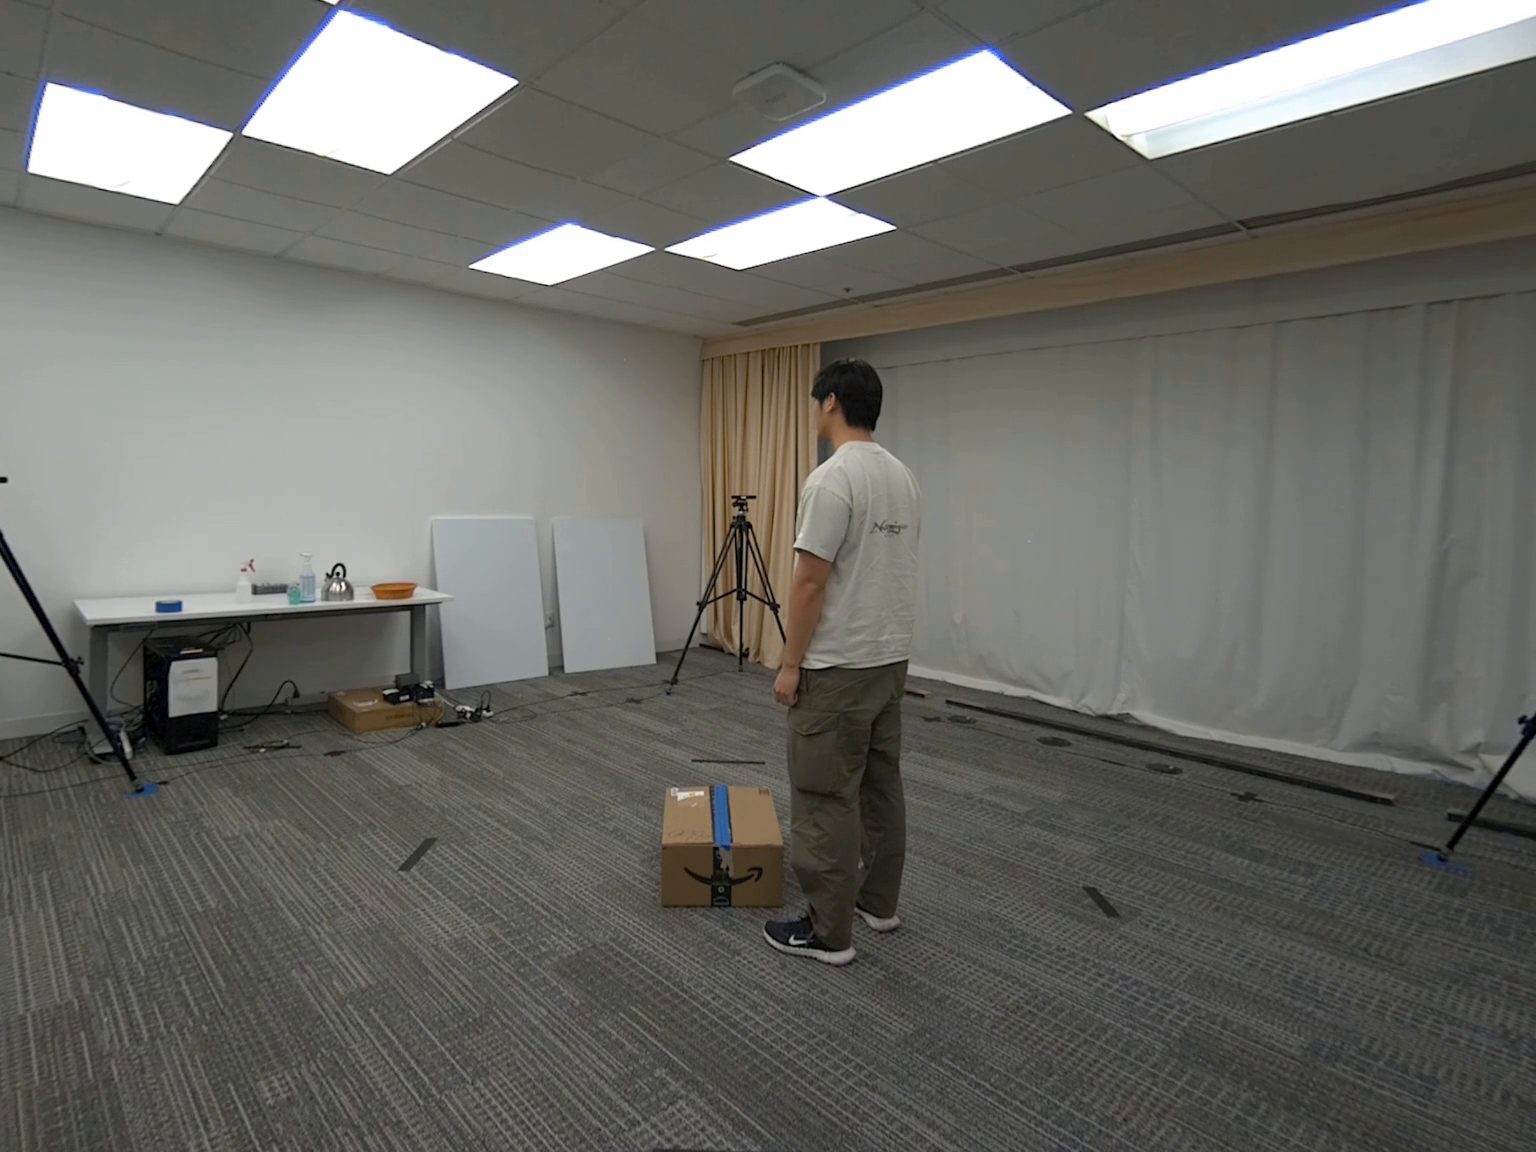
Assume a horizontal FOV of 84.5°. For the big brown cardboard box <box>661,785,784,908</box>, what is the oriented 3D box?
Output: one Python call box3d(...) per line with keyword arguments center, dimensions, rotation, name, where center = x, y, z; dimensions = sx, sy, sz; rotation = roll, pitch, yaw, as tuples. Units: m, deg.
box3d(center=(-0.185, 0.985, 3.131), dimensions=(0.416, 0.232, 0.593), rotation=(1, 6, -4), name="big brown cardboard box")
